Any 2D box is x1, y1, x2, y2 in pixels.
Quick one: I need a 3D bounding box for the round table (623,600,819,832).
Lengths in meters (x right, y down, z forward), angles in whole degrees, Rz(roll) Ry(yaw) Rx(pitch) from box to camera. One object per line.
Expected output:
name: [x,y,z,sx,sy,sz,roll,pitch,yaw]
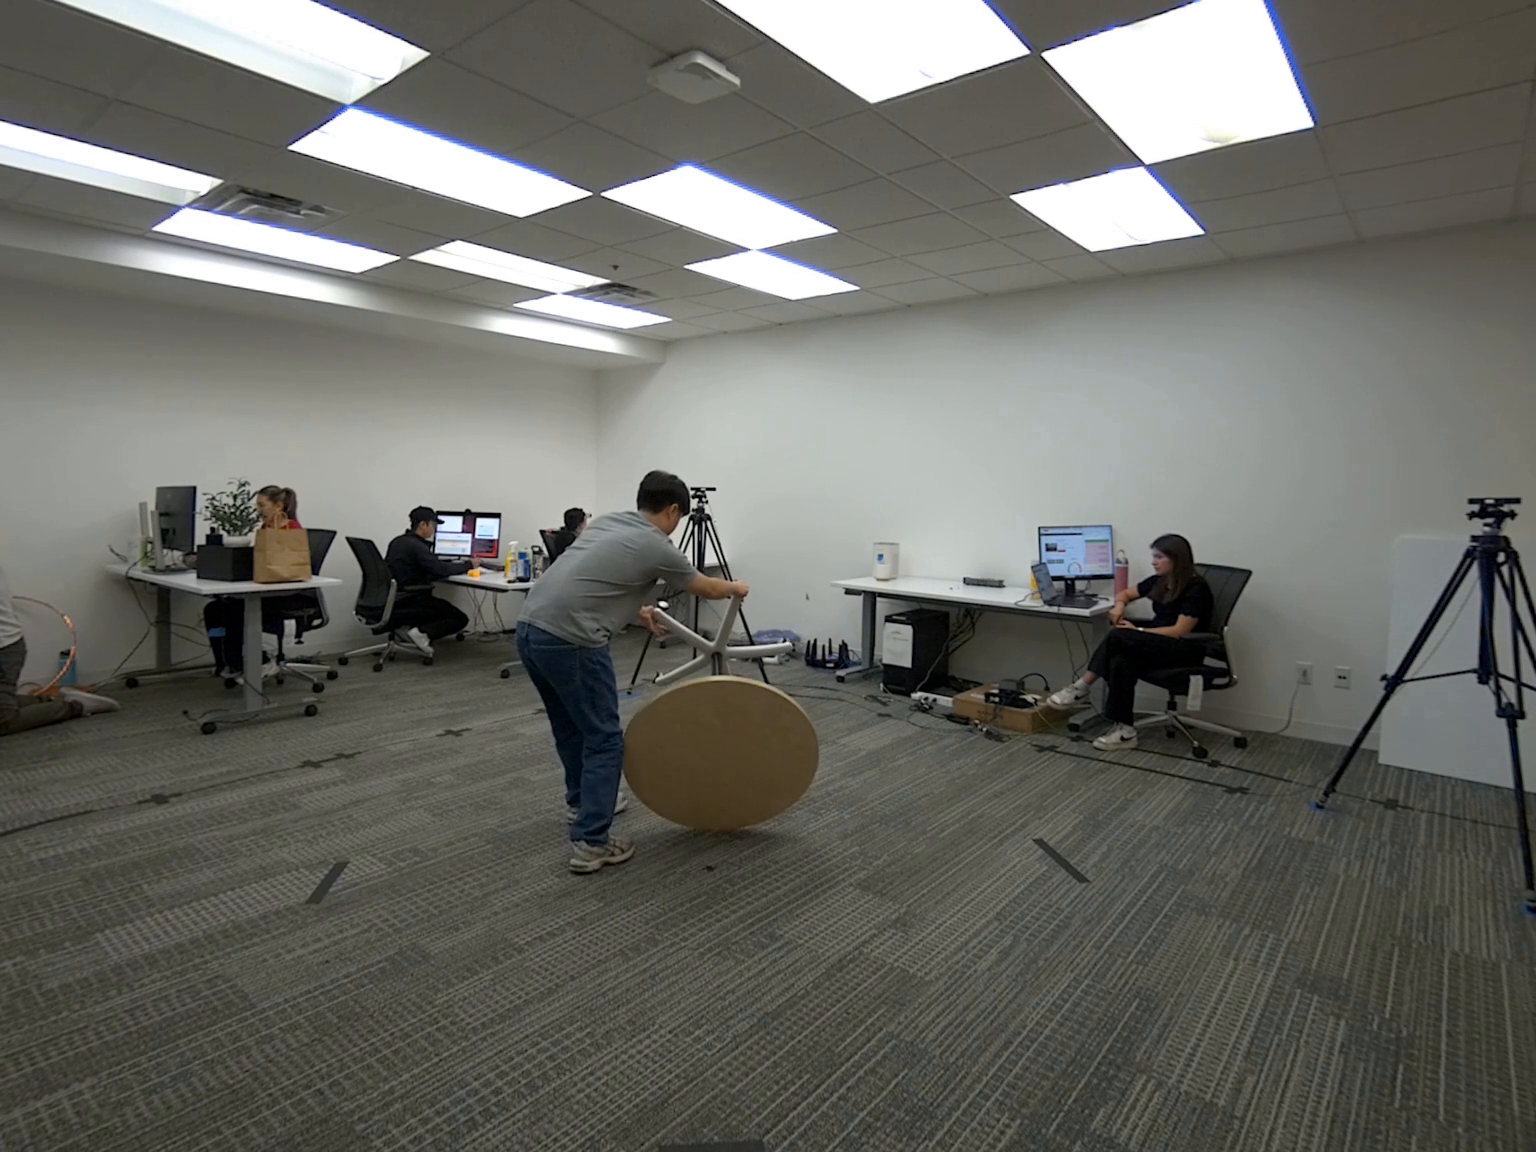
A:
round table: [-0.216,0.501,3.632,0.761,0.746,0.816,1,30,-4]
